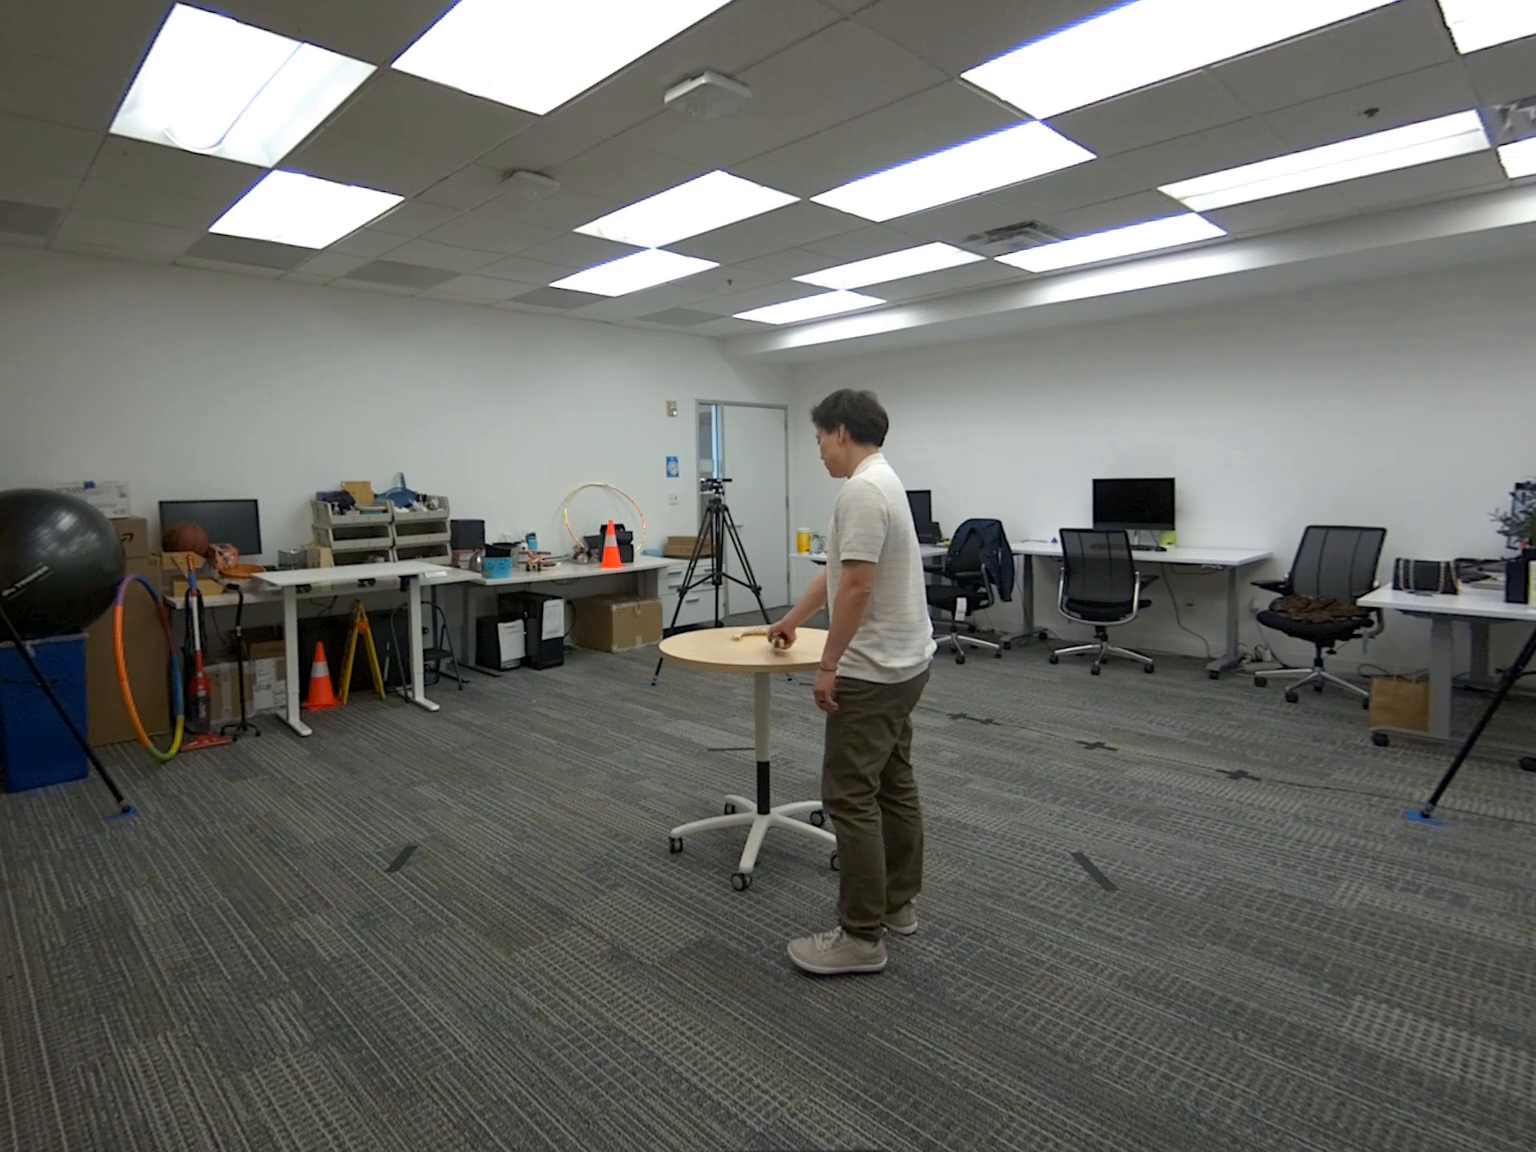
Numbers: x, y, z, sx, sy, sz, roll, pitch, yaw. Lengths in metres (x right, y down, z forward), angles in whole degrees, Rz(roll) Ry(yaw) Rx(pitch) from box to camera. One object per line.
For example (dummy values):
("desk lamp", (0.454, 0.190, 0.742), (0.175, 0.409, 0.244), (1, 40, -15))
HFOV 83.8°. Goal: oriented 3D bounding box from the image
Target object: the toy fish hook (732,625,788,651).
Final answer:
("toy fish hook", (-0.023, 0.228, 3.152), (0.225, 0.048, 0.506), (-7, 2, -1))
